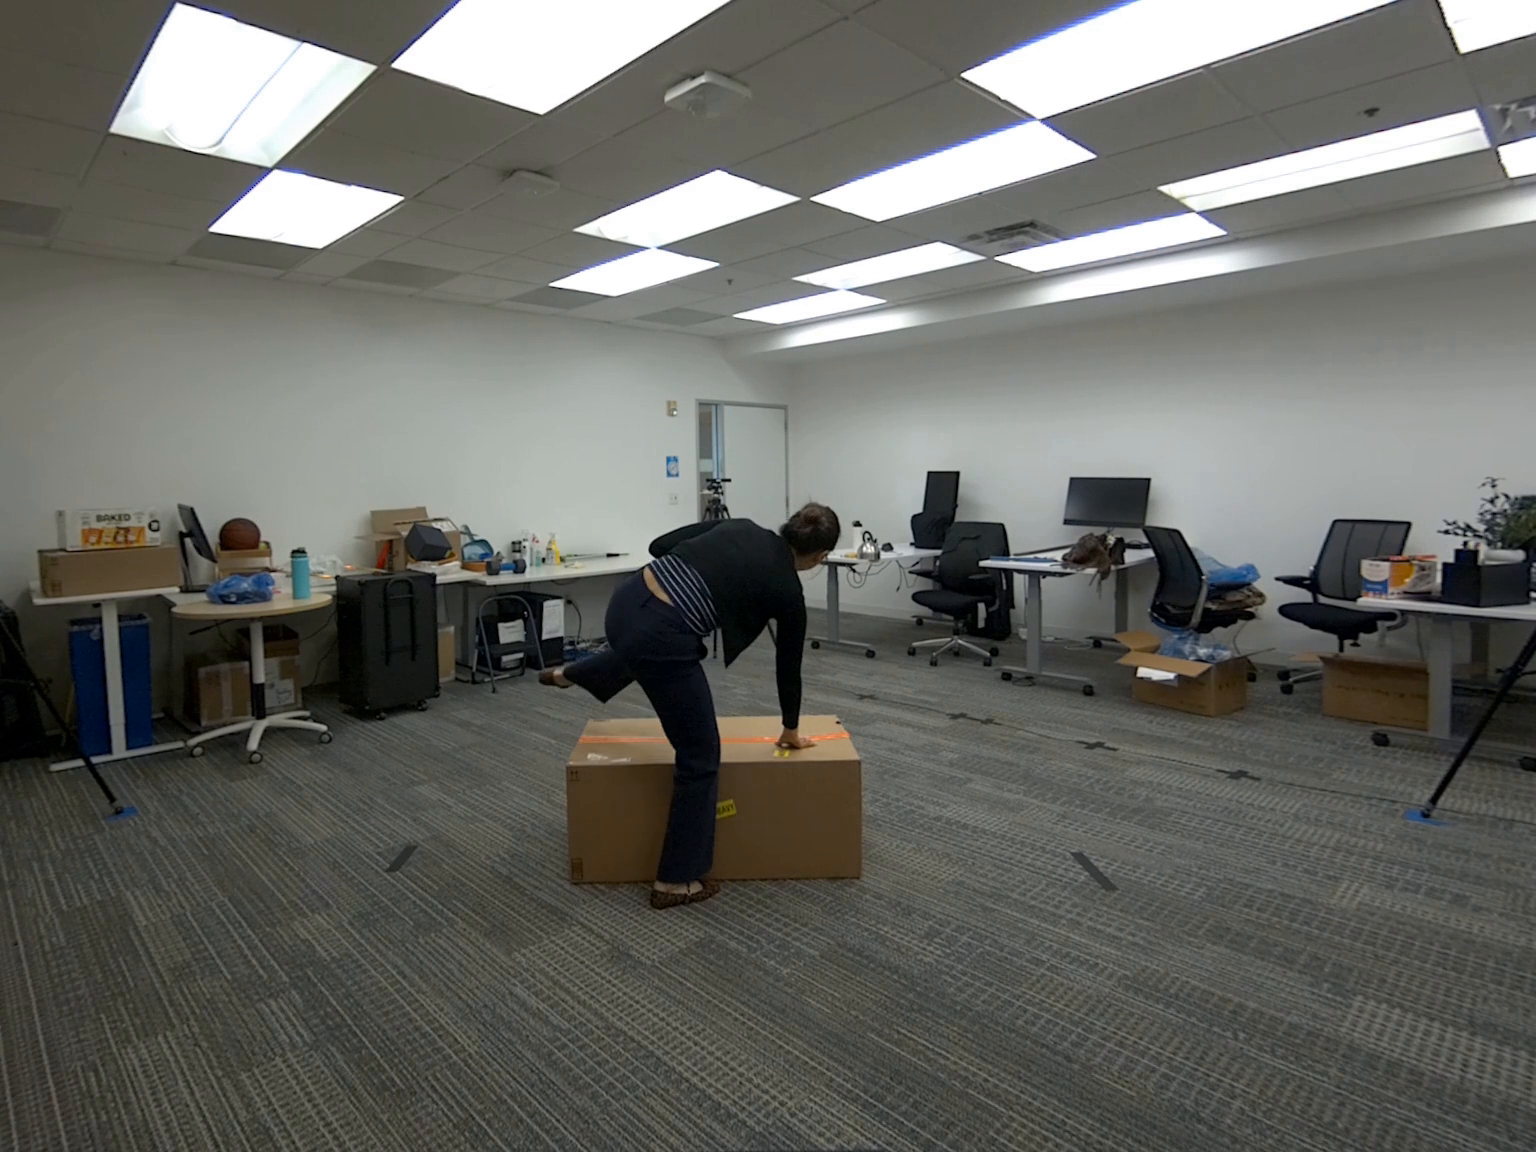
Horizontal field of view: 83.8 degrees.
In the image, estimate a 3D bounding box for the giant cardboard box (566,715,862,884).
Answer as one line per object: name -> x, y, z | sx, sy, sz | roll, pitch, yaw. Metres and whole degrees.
giant cardboard box -> -0.206, 0.815, 3.245 | 1.025, 0.424, 0.581 | -1, 6, -1
